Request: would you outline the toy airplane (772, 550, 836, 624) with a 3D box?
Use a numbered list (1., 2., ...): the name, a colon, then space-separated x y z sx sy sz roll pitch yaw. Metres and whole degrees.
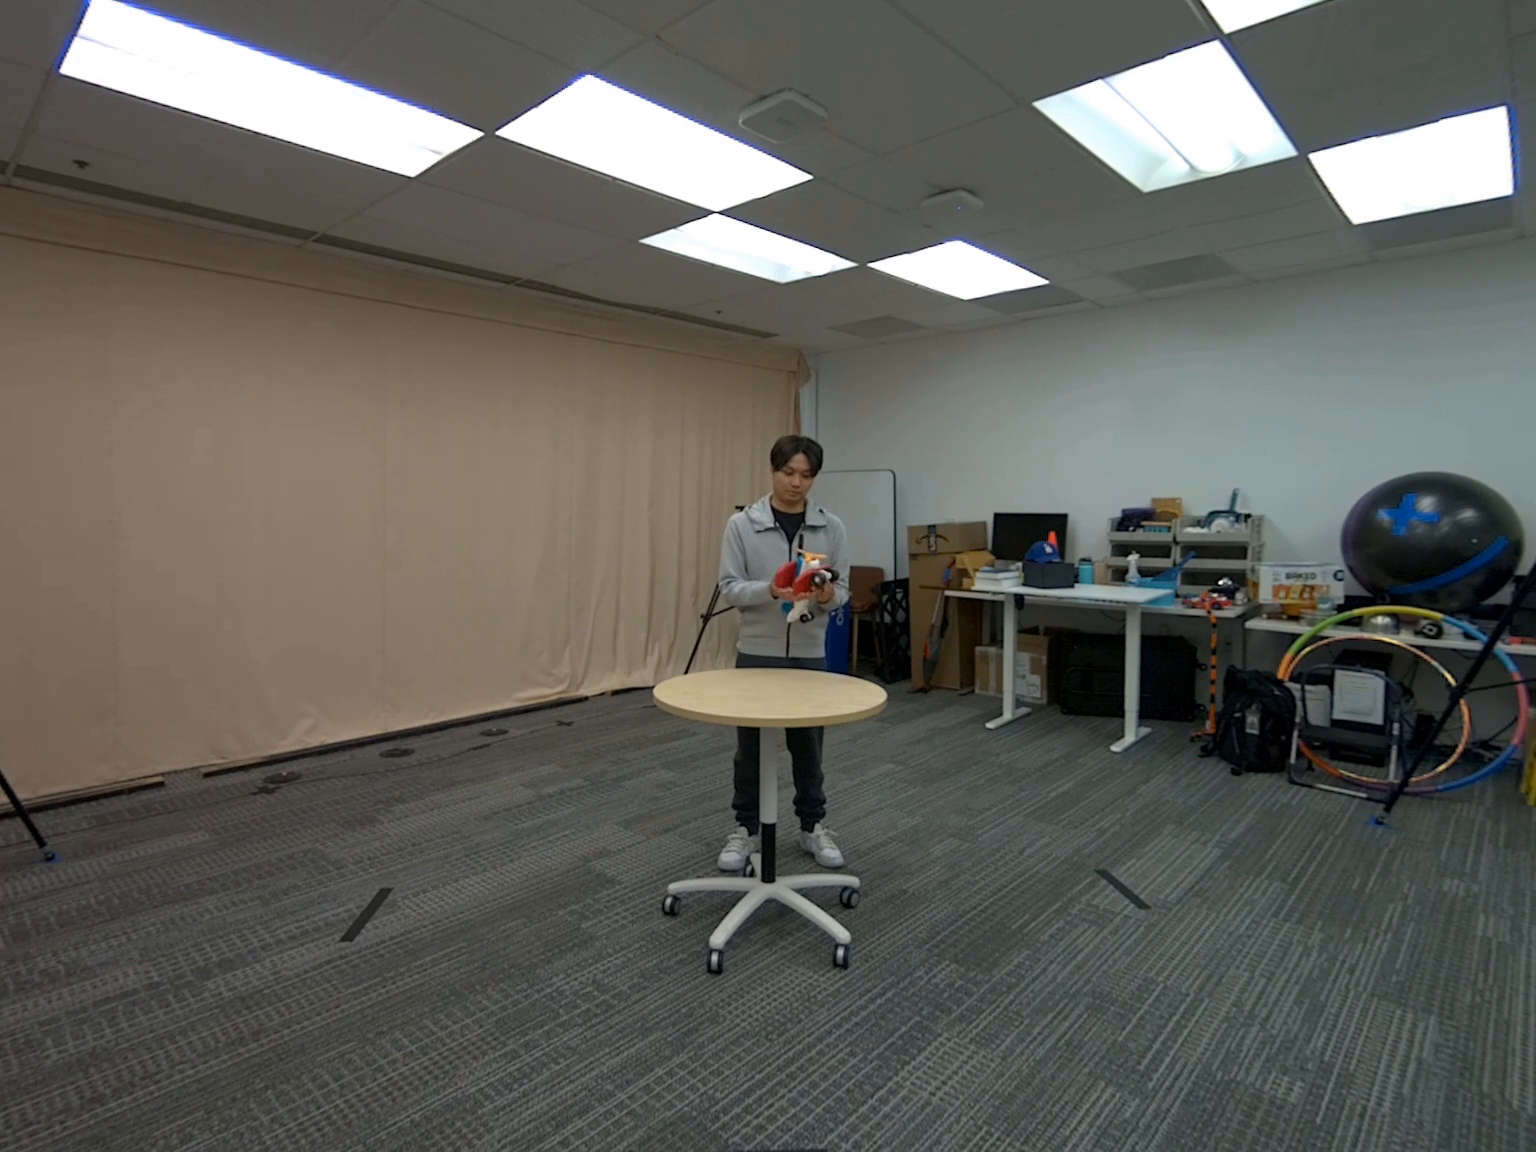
1. toy airplane: 0.129 0.055 3.025 0.160 0.259 0.244 38 2 22
